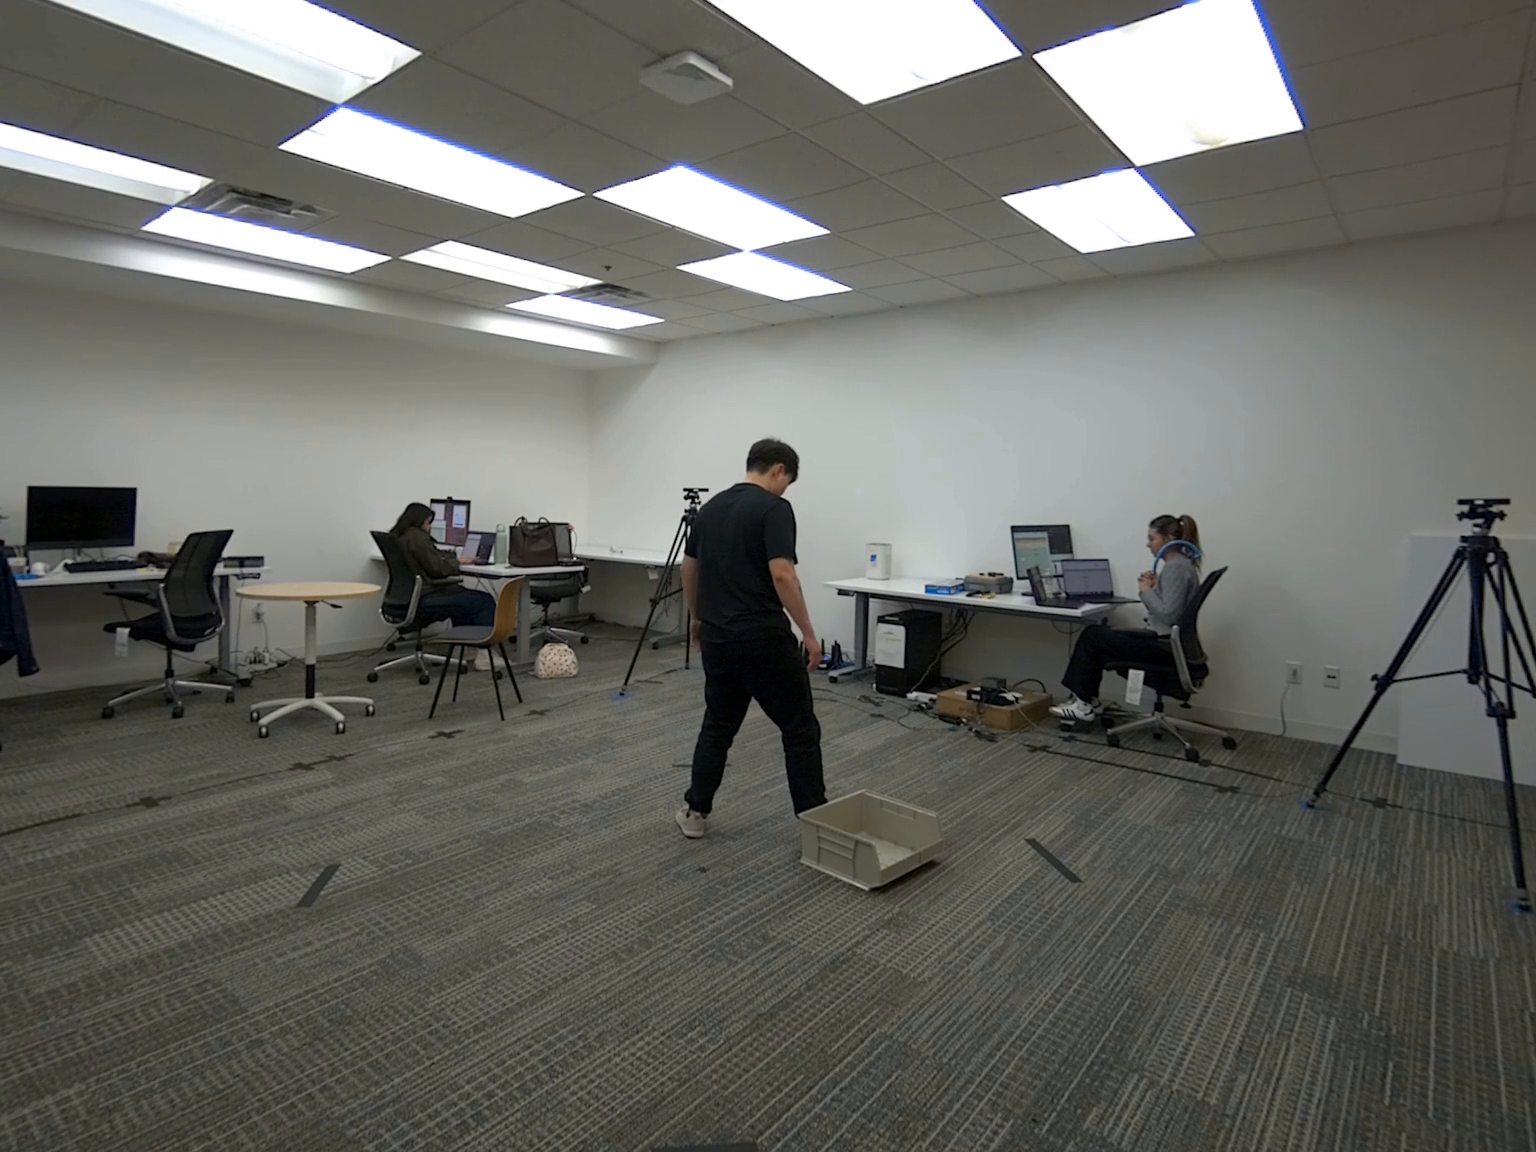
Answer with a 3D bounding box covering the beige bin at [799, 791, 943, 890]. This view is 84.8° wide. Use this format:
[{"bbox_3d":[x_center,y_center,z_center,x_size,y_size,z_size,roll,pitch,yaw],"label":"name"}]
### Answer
[{"bbox_3d":[0.386,0.989,3.197,0.390,0.188,0.410,5,6,43],"label":"beige bin"}]
